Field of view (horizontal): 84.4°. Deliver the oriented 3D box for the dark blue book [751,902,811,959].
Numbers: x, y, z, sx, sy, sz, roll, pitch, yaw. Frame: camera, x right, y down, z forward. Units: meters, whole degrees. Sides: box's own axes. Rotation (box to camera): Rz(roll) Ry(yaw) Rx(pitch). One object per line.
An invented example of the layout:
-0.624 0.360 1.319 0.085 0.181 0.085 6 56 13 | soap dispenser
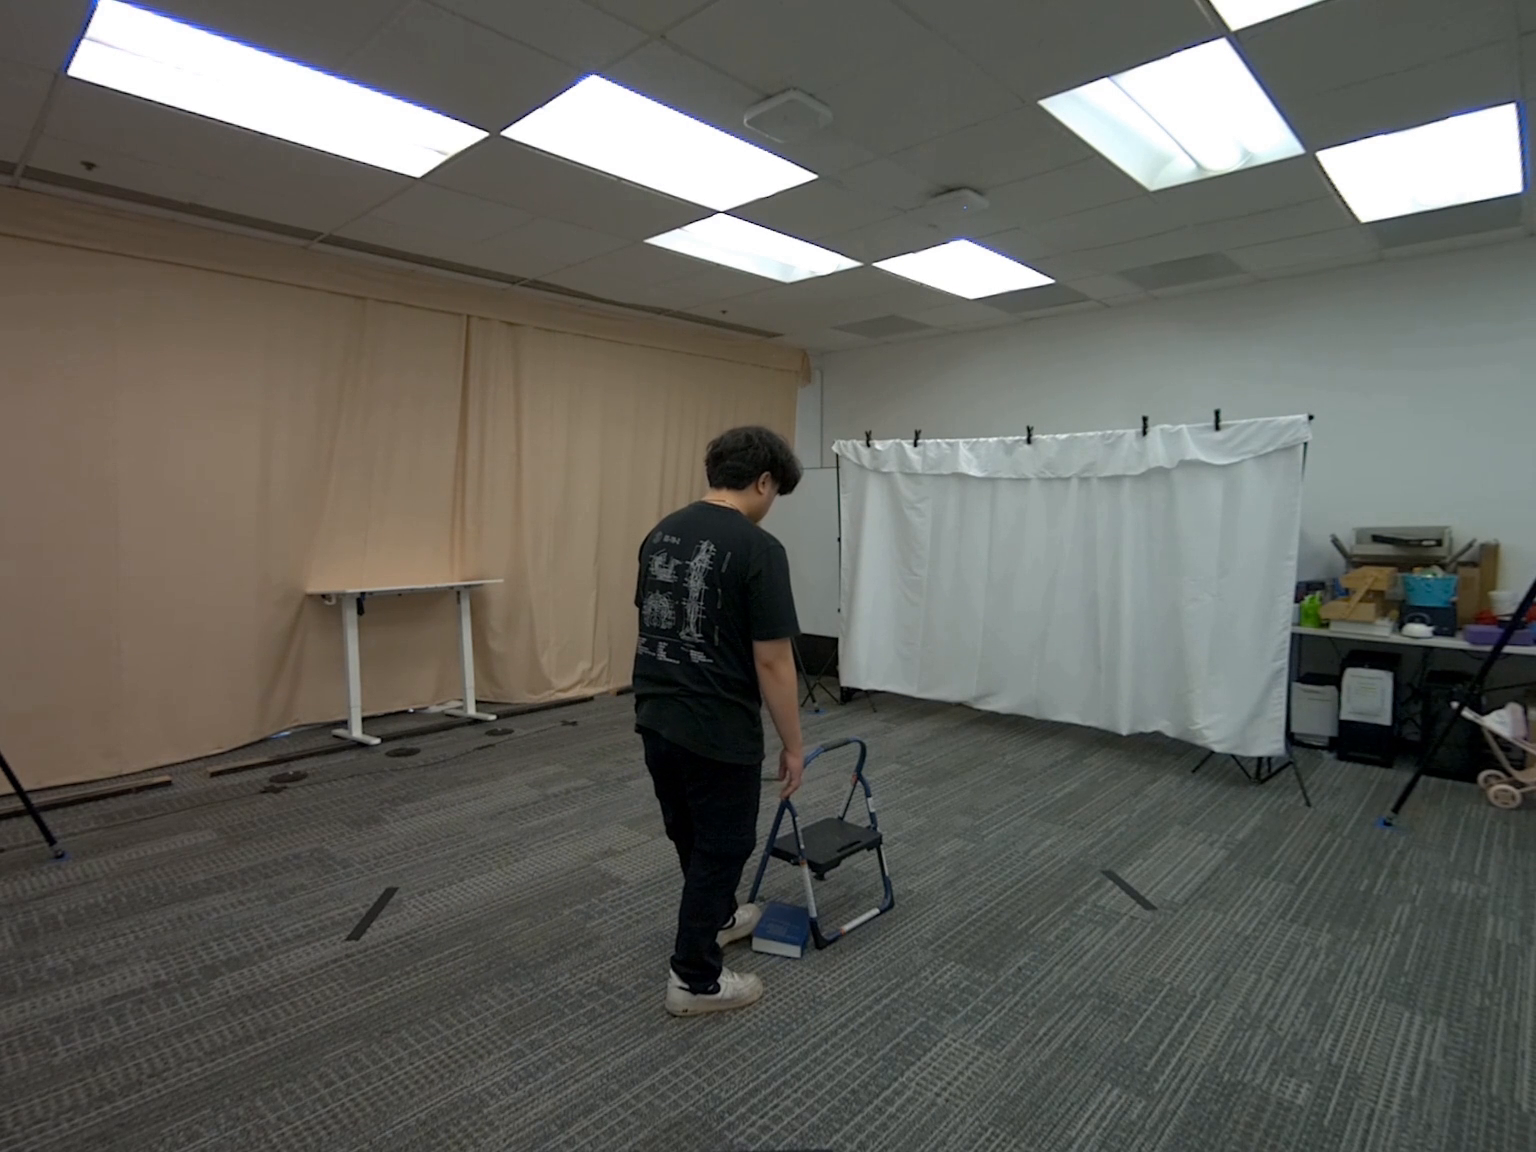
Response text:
0.058 1.141 2.708 0.166 0.045 0.241 4 5 15 | dark blue book
